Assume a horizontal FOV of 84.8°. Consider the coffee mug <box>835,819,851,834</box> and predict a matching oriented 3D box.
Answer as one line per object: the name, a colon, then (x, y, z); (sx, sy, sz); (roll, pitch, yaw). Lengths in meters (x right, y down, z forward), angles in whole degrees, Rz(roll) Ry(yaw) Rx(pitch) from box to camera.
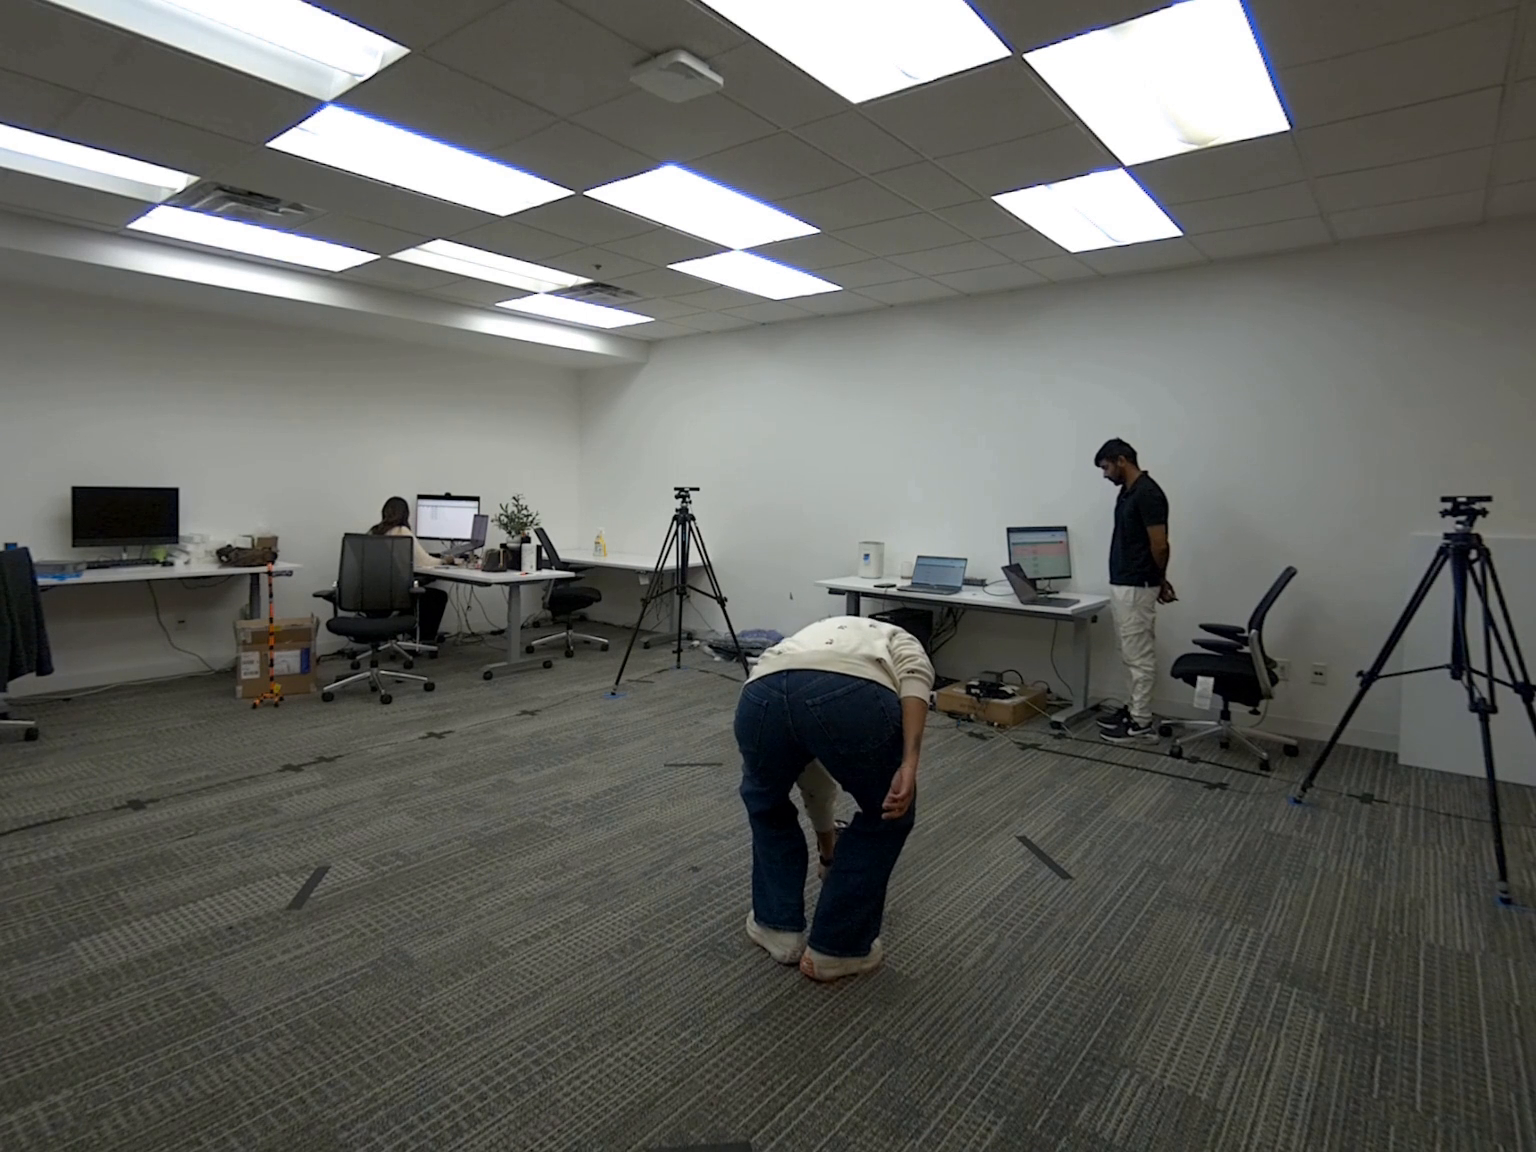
coffee mug: (0.221, 0.935, 2.910); (0.085, 0.202, 0.126); (5, 3, -32)
